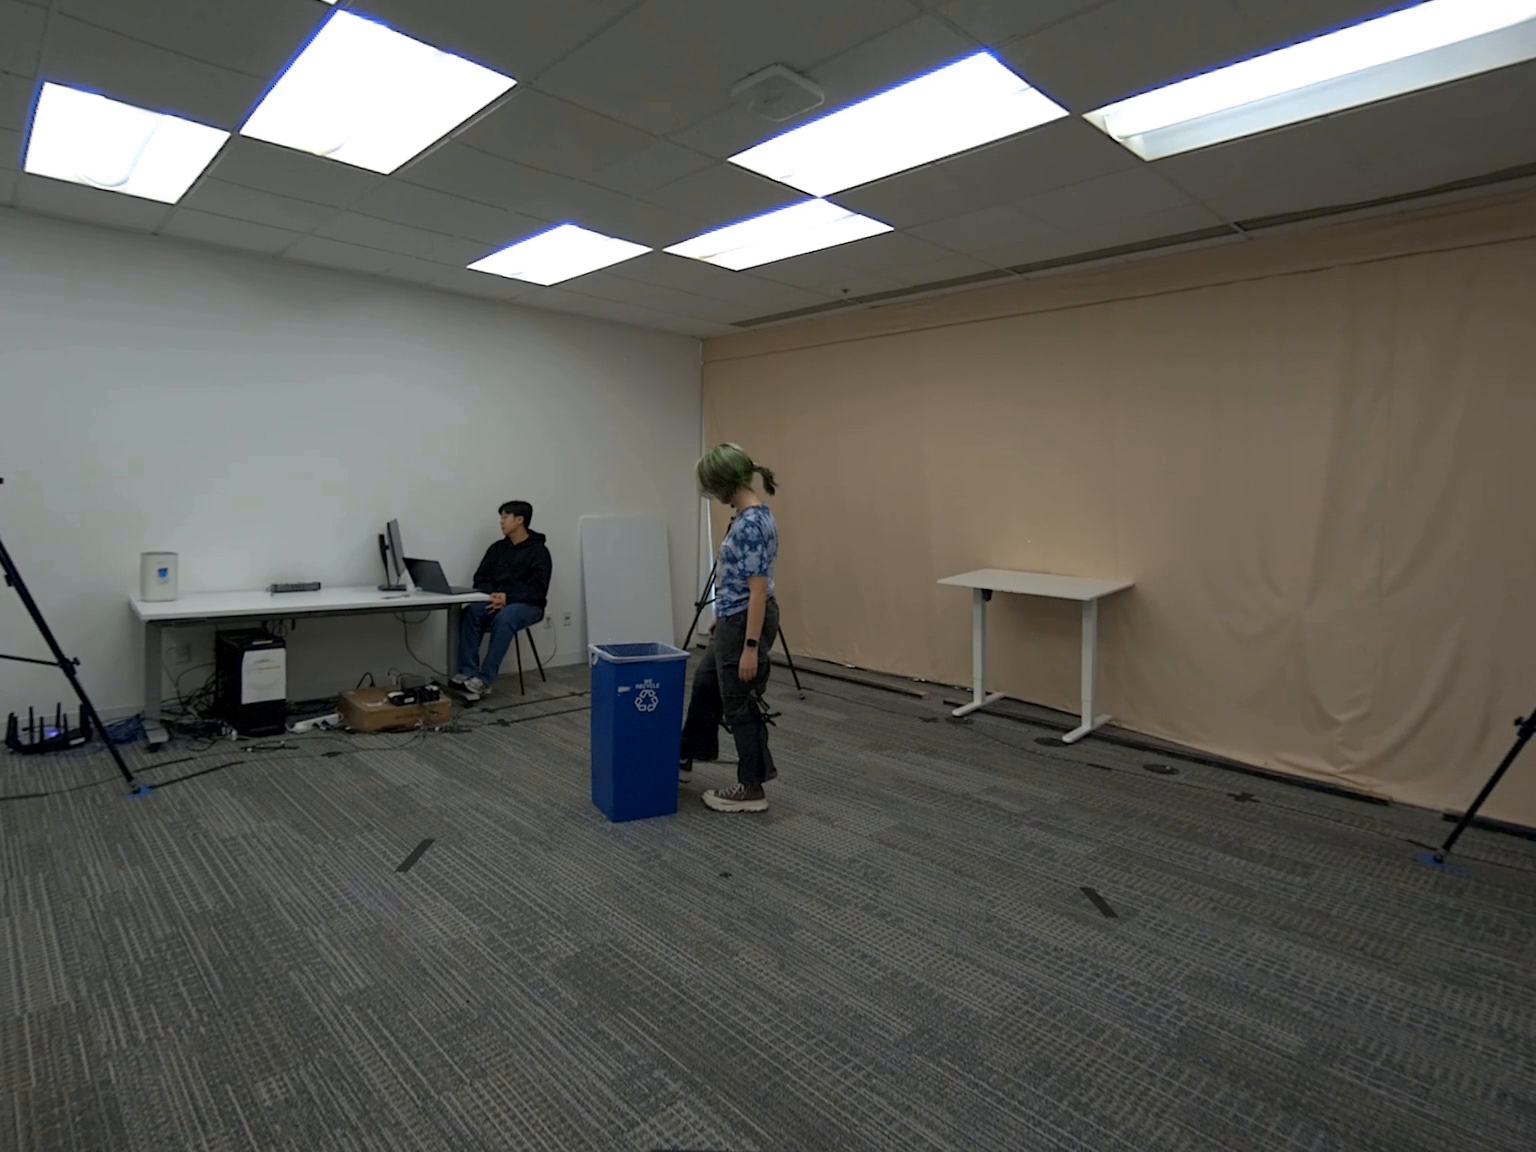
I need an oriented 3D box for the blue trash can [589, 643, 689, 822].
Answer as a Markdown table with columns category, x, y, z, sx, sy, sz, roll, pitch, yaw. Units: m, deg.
| category | x | y | z | sx | sy | sz | roll | pitch | yaw |
| --- | --- | --- | --- | --- | --- | --- | --- | --- | --- |
| blue trash can | -0.596 | 0.679 | 3.761 | 0.366 | 0.712 | 0.386 | 0 | 4 | -30 |
